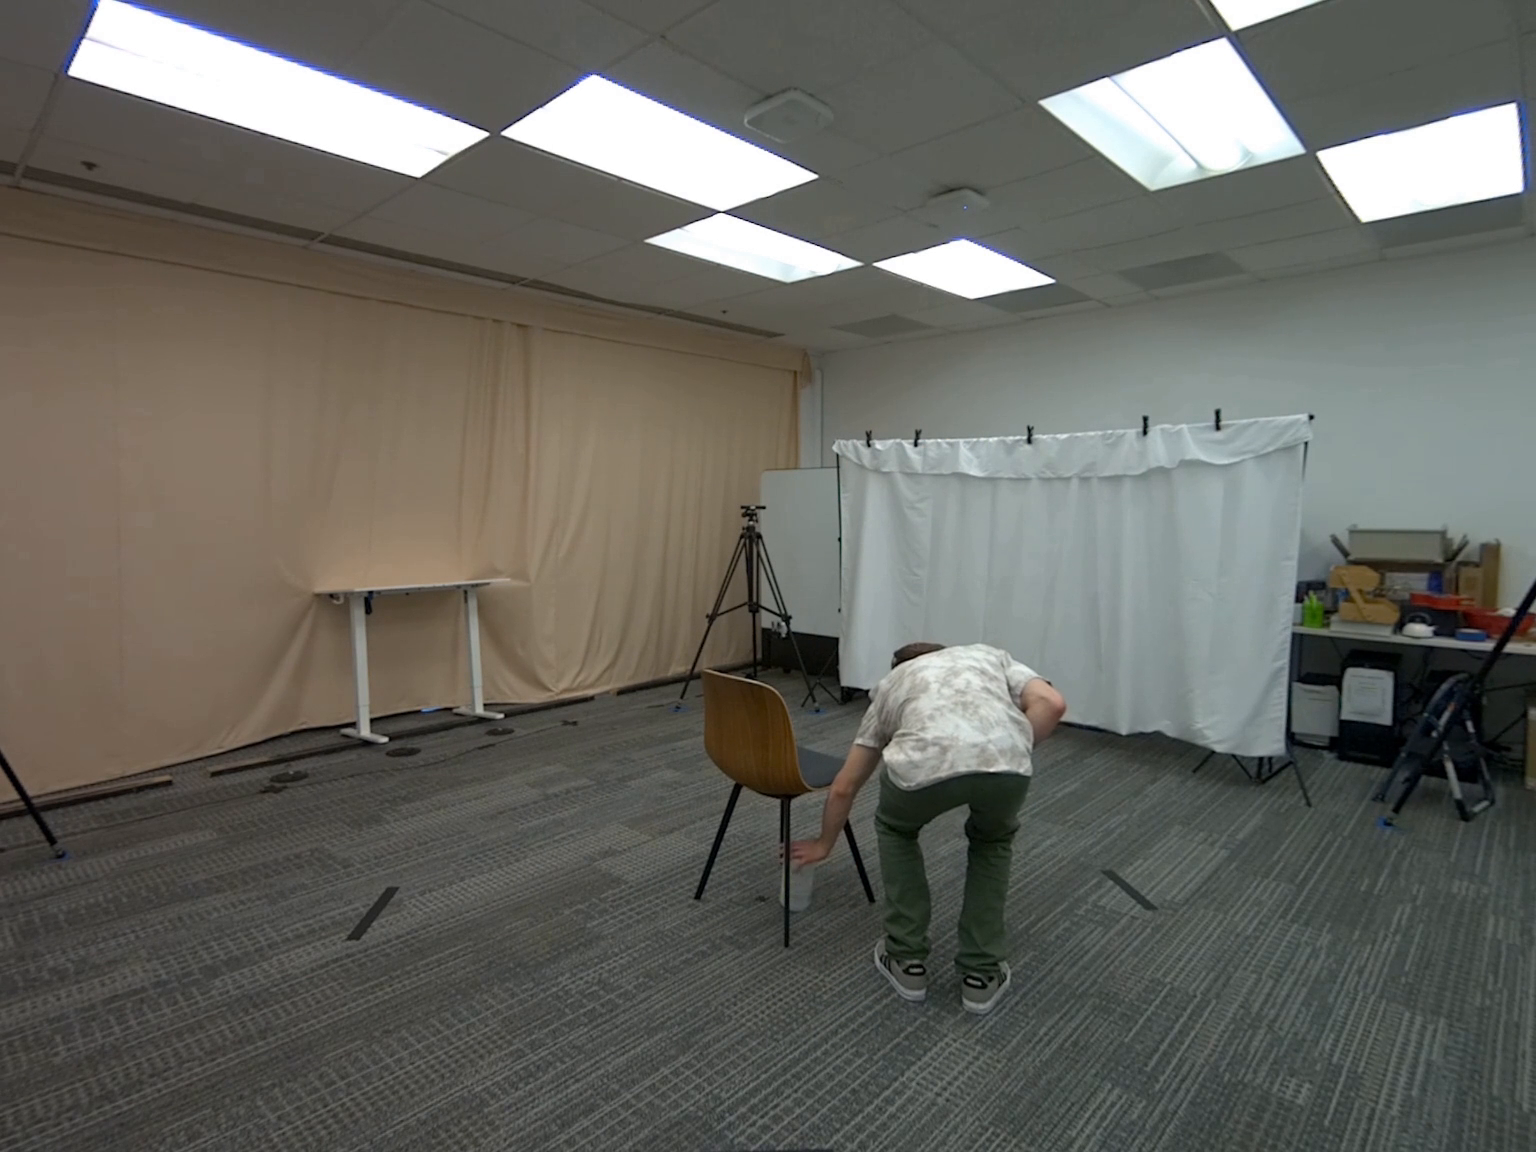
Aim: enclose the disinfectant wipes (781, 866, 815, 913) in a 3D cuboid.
[{"bbox_3d":[0.113,1.047,2.903,0.117,0.216,0.119,0,12,-2],"label":"disinfectant wipes"}]
